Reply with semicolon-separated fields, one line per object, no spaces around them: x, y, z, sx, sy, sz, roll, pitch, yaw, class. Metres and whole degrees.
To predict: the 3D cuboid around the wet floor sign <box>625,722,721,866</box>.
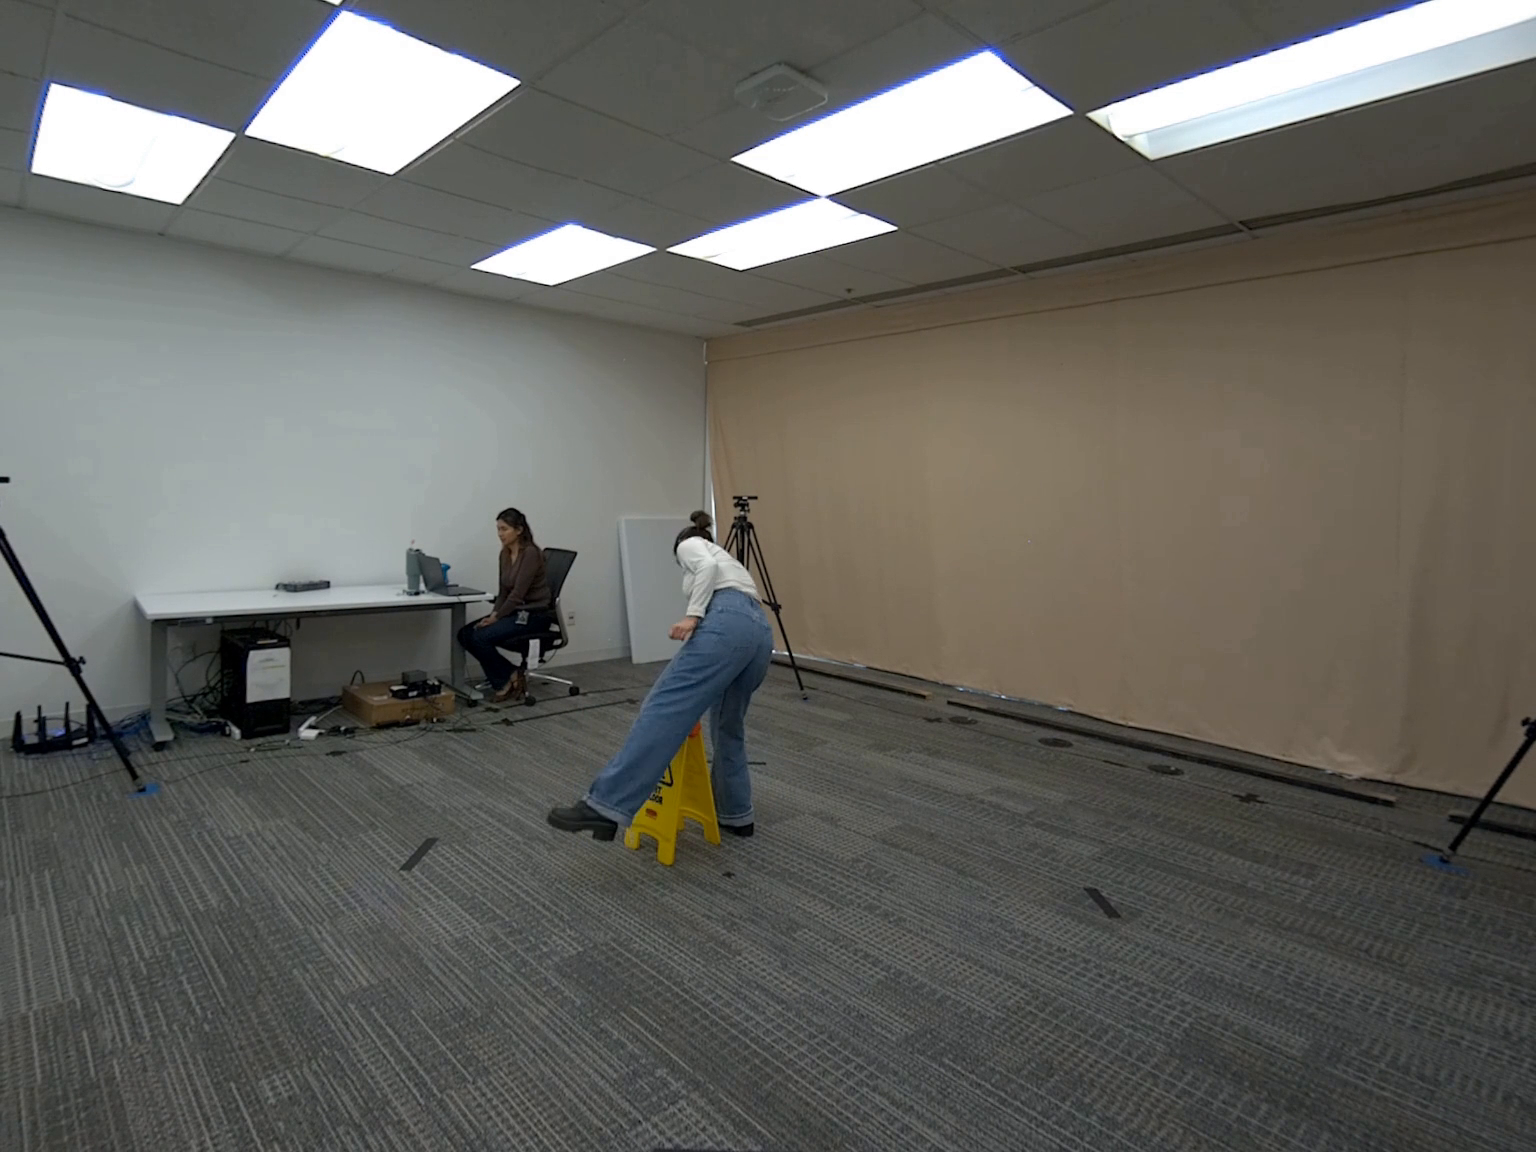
-0.382;0.754;3.344;0.289;0.644;0.283;5;4;41;wet floor sign
